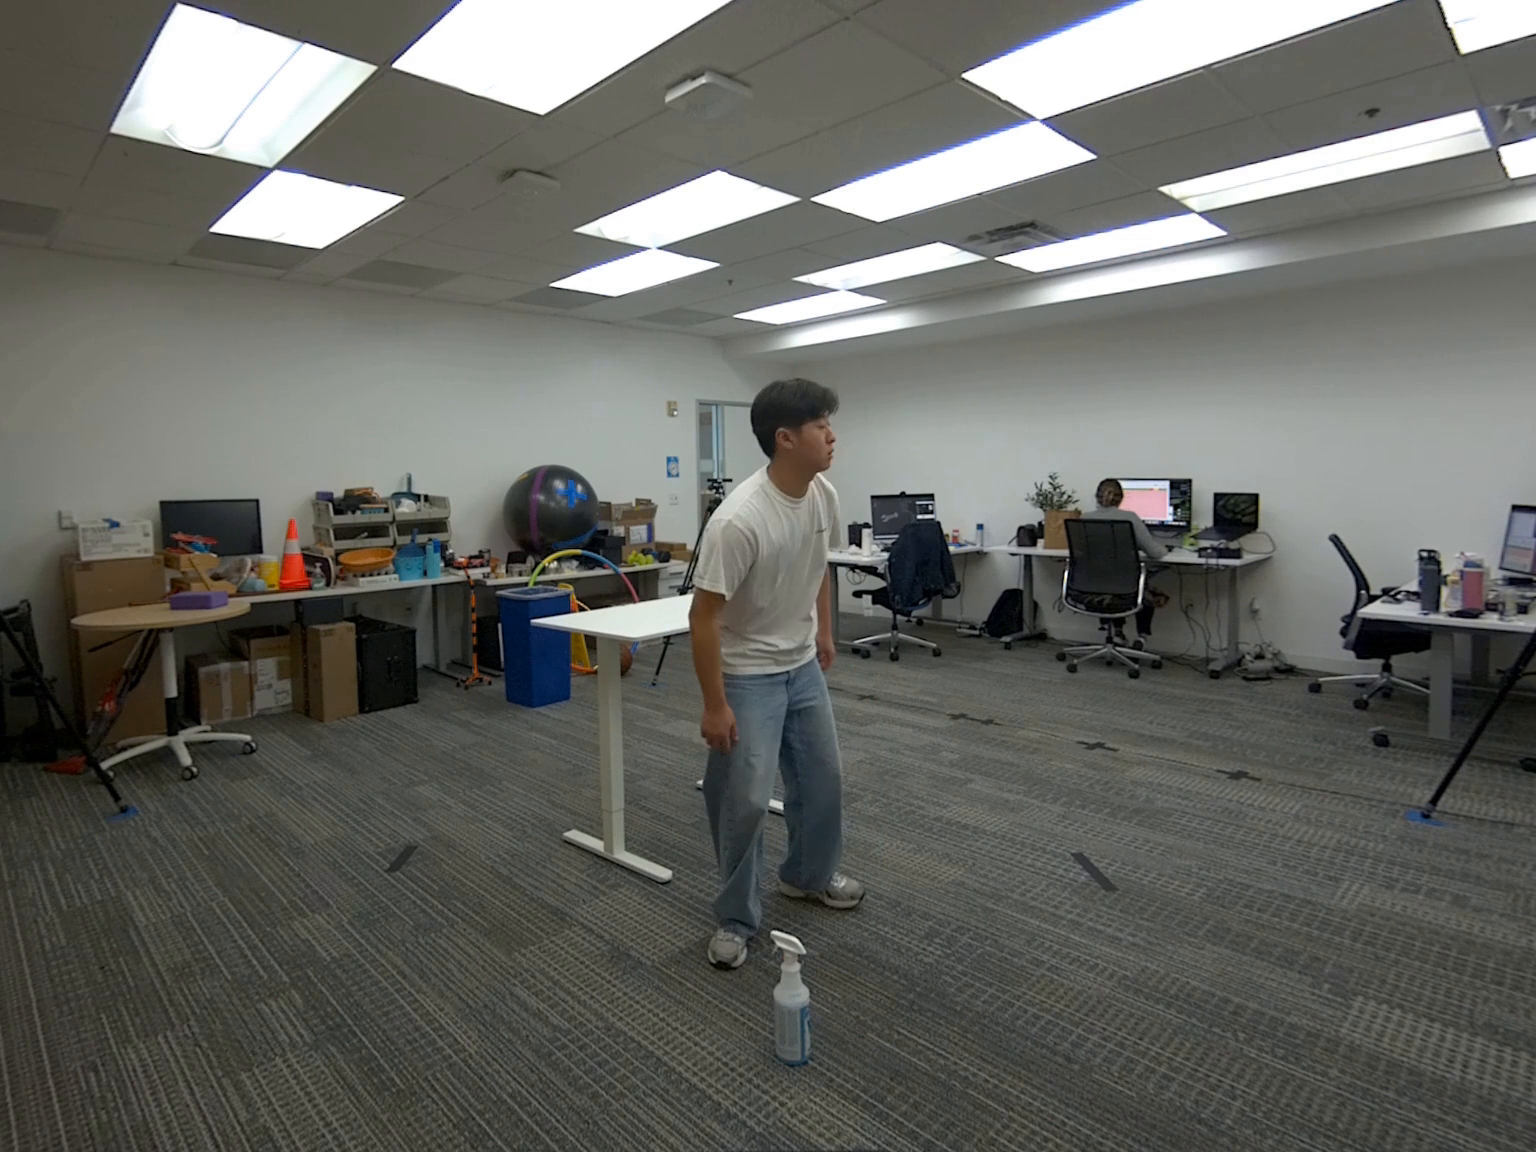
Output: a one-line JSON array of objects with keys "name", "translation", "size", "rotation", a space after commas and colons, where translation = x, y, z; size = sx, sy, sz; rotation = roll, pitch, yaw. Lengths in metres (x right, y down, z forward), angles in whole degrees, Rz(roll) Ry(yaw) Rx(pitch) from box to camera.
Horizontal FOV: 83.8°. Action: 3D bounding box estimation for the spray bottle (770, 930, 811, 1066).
[{"name": "spray bottle", "translation": [0.062, 1.030, 2.063], "size": [0.085, 0.296, 0.092], "rotation": [-4, 4, -35]}]
